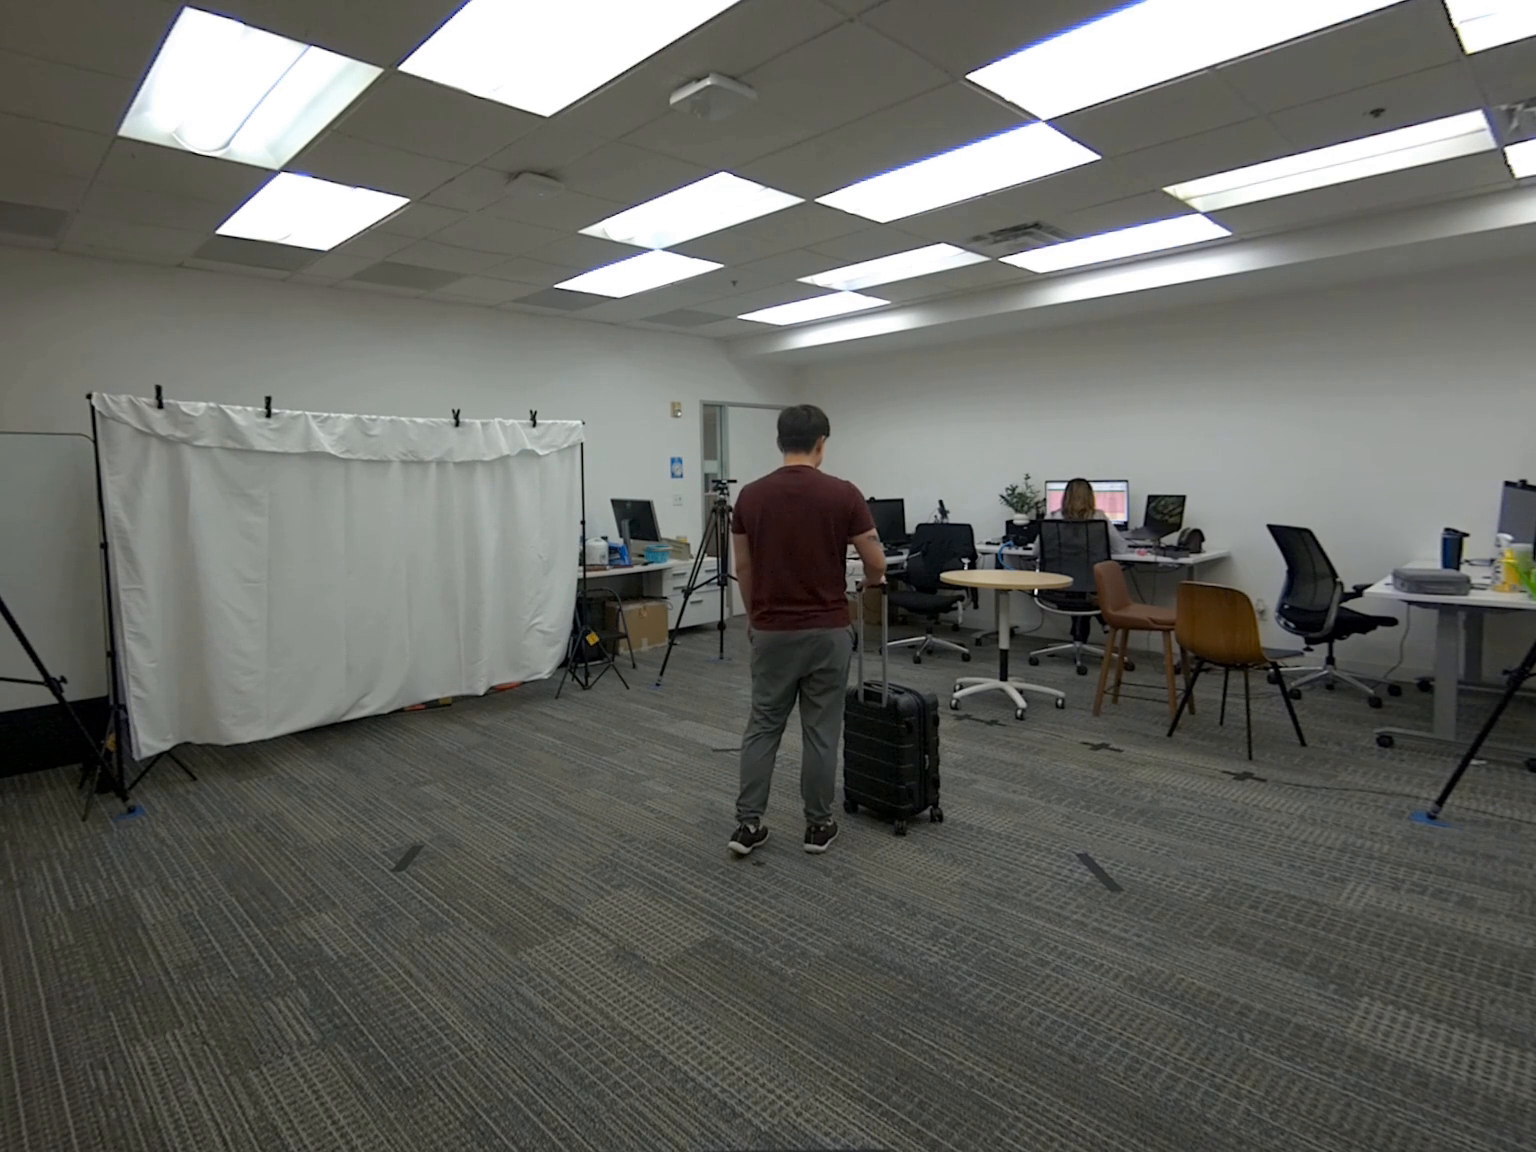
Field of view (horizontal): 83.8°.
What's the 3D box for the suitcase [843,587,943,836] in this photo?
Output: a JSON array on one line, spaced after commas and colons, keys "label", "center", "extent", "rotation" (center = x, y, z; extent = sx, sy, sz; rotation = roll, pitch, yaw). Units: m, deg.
[{"label": "suitcase", "center": [0.516, 0.515, 3.532], "extent": [0.250, 0.977, 0.395], "rotation": [-1, 2, -38]}]
